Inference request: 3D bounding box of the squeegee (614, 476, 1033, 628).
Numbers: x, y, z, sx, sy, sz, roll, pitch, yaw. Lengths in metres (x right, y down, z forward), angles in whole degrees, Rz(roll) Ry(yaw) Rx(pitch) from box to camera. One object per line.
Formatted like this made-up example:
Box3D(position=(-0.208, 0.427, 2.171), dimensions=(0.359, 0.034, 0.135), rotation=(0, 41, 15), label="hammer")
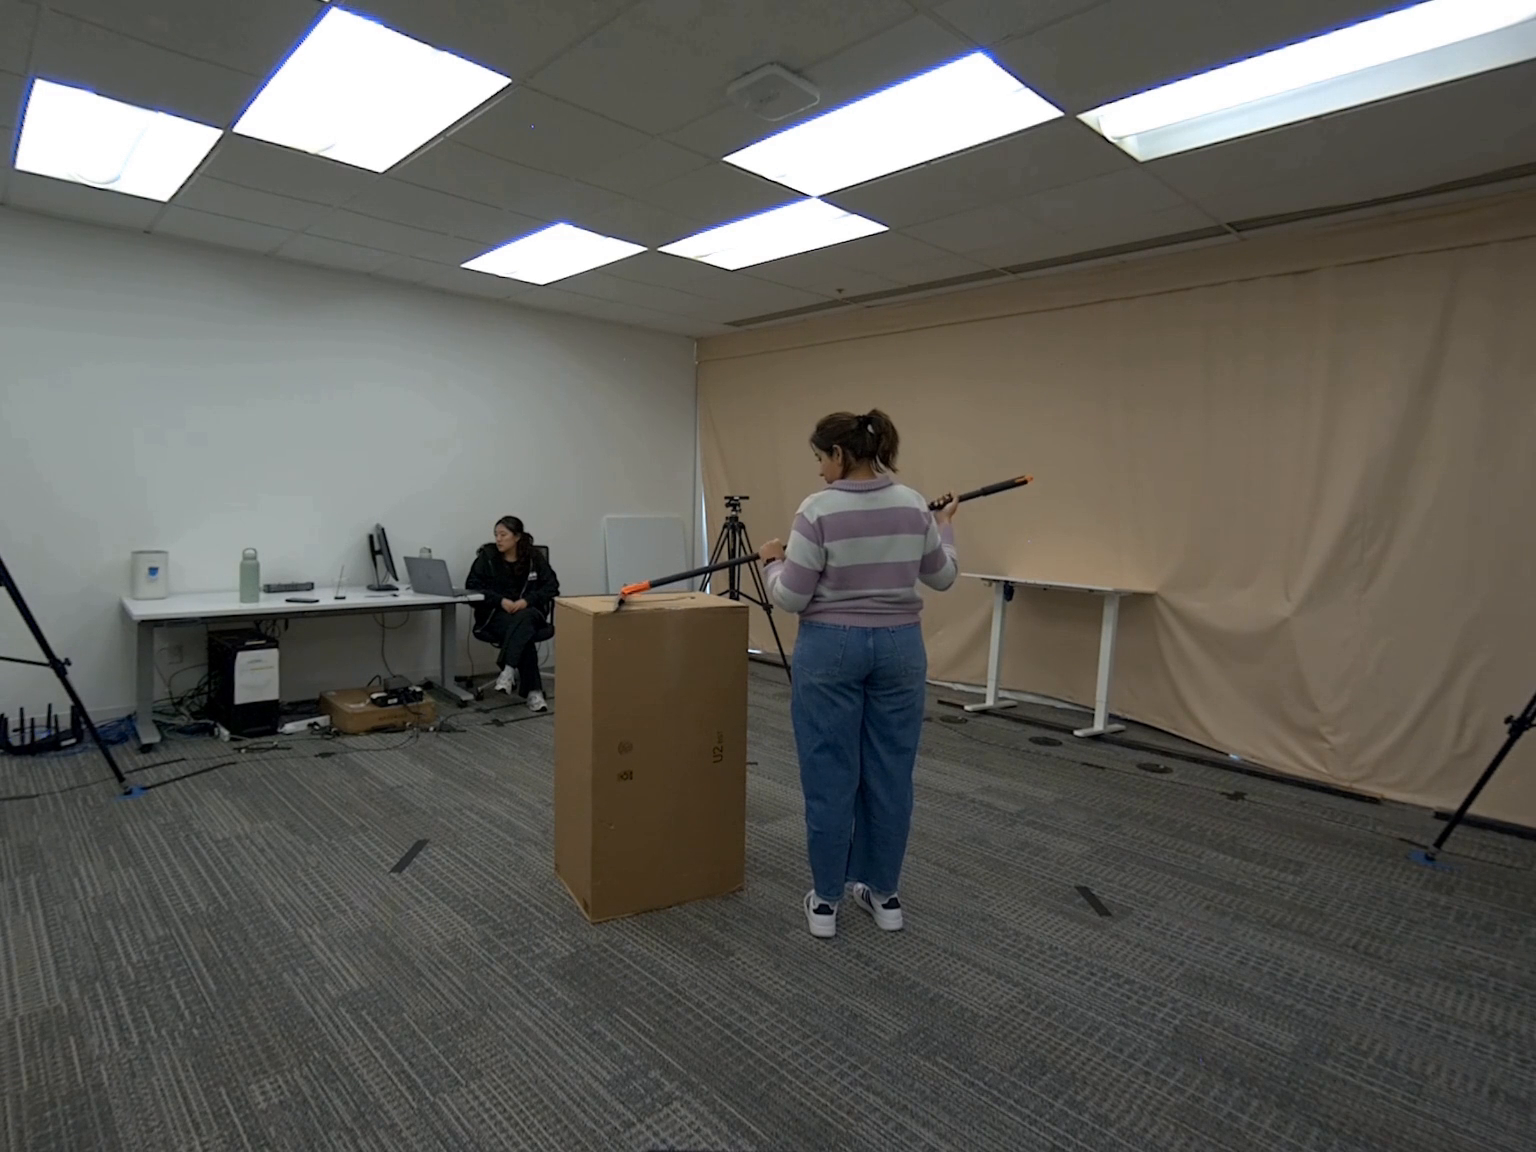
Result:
Box3D(position=(0.188, -0.141, 2.957), dimensions=(1.536, 0.052, 0.442), rotation=(-17, 11, -2), label="squeegee")
